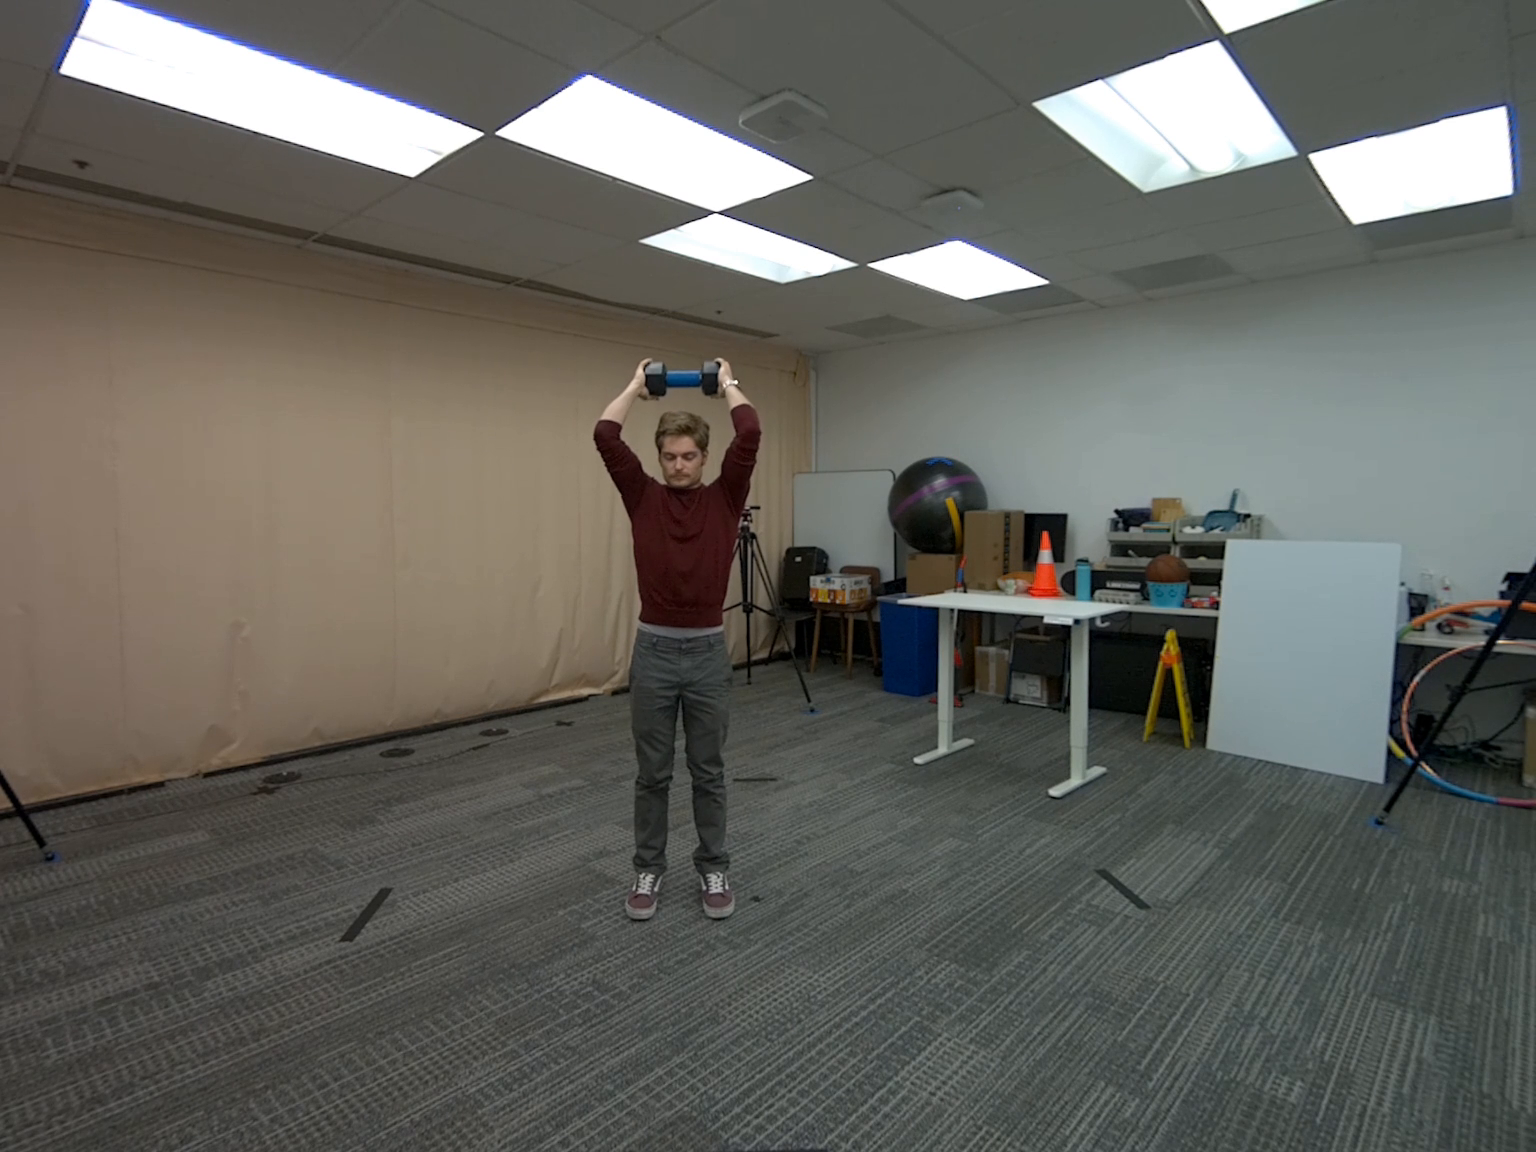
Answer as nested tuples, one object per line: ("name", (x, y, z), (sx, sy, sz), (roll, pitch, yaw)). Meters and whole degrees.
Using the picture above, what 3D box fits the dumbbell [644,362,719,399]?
("dumbbell", (-0.311, -0.711, 3.043), (0.295, 0.121, 0.110), (0, 25, 4))
